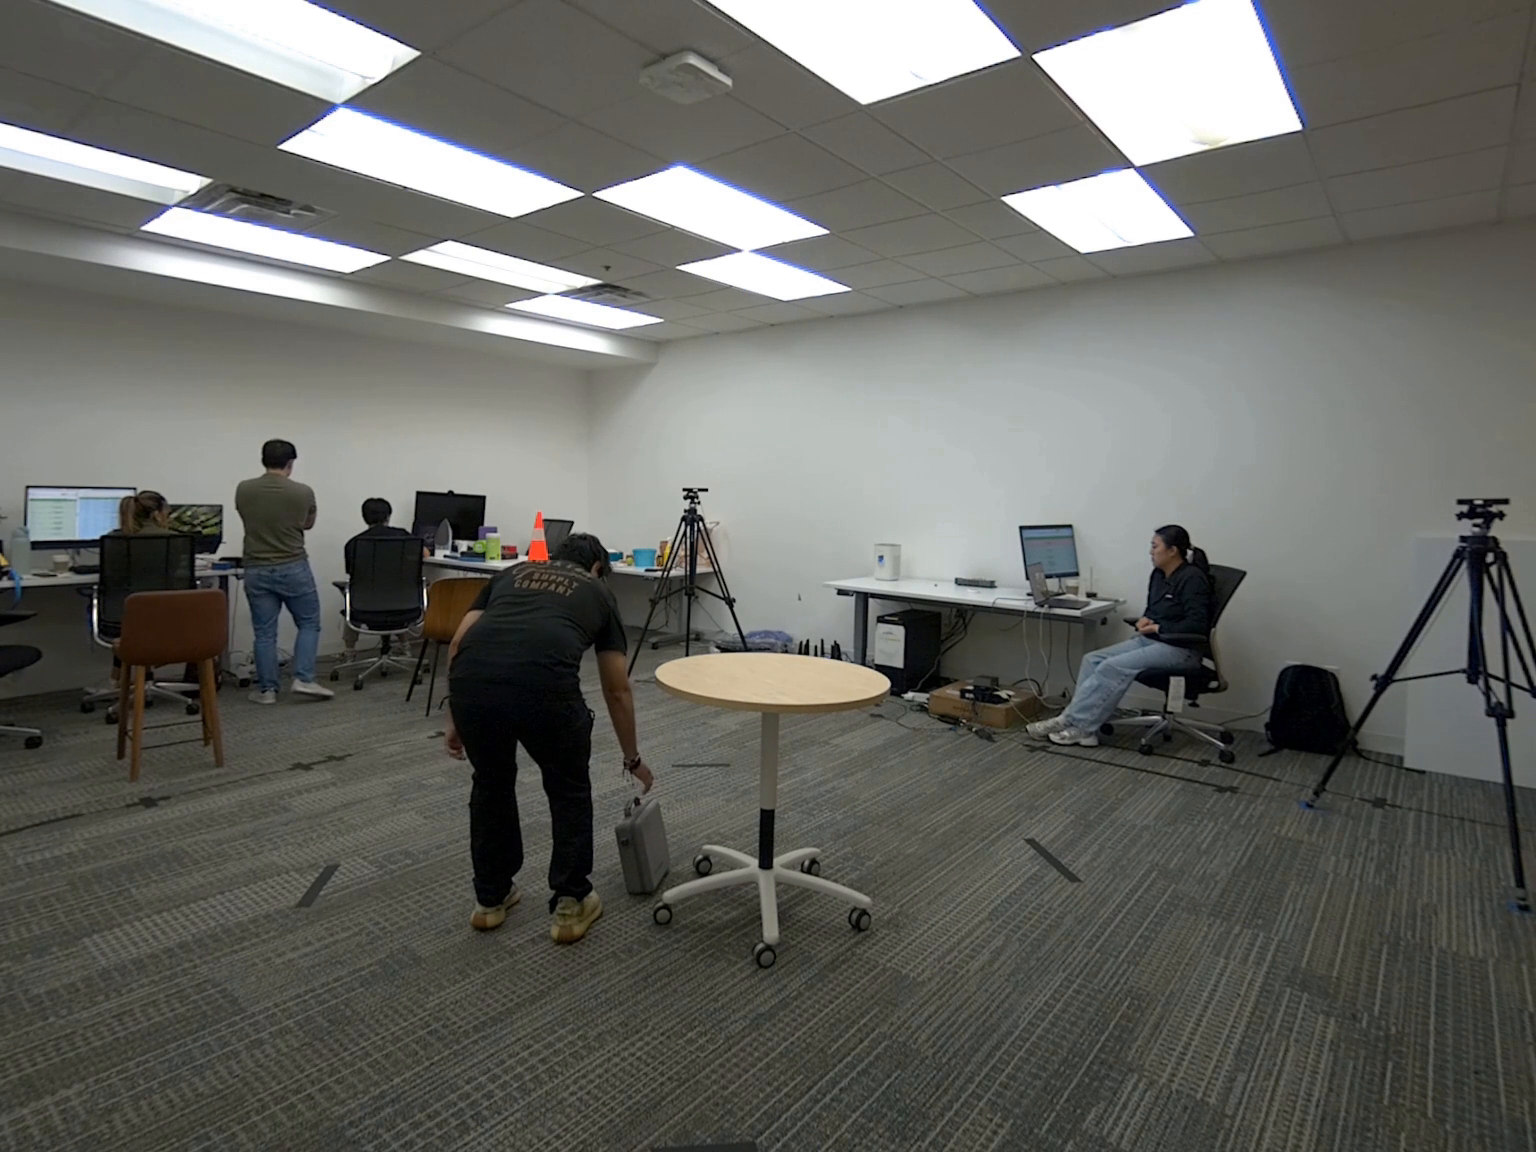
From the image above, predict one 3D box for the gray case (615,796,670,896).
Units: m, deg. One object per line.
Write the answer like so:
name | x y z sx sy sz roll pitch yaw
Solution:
gray case | -0.449 0.943 2.998 0.105 0.260 0.254 -10 1 10
